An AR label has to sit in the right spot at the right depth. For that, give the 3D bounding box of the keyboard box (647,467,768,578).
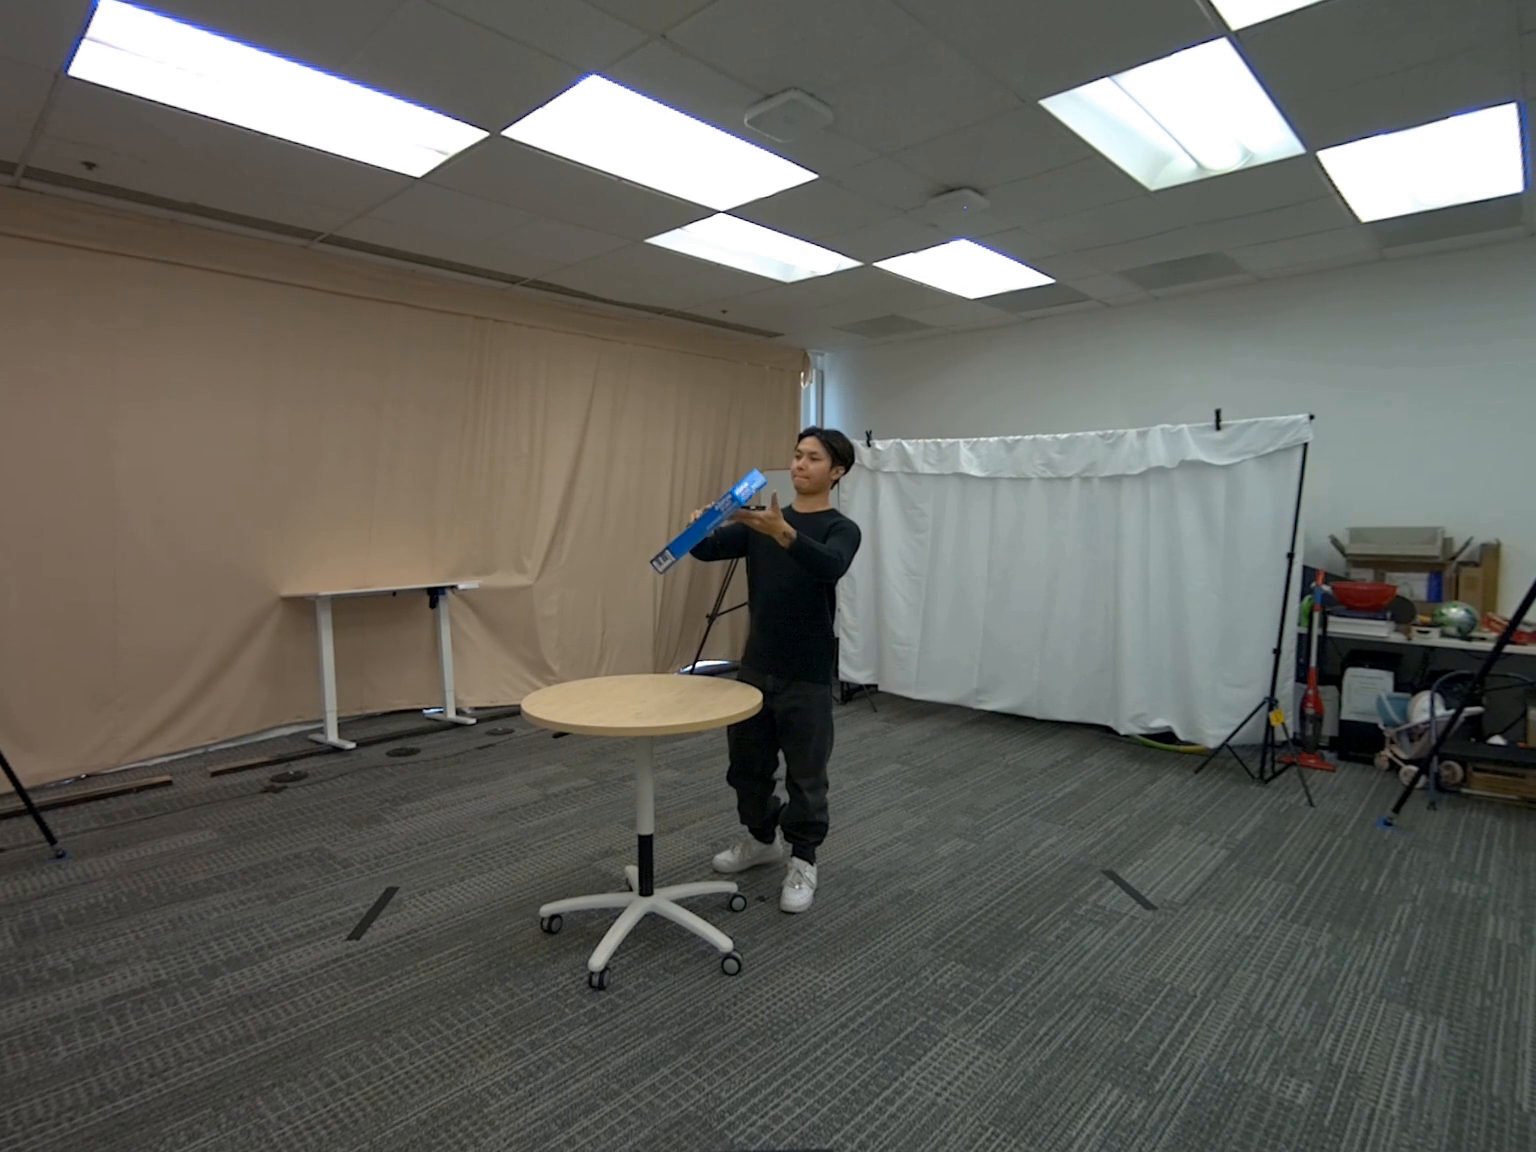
[{"bbox_3d":[-0.194,-0.162,2.611,0.443,0.059,0.174,-37,7,41],"label":"keyboard box"}]
